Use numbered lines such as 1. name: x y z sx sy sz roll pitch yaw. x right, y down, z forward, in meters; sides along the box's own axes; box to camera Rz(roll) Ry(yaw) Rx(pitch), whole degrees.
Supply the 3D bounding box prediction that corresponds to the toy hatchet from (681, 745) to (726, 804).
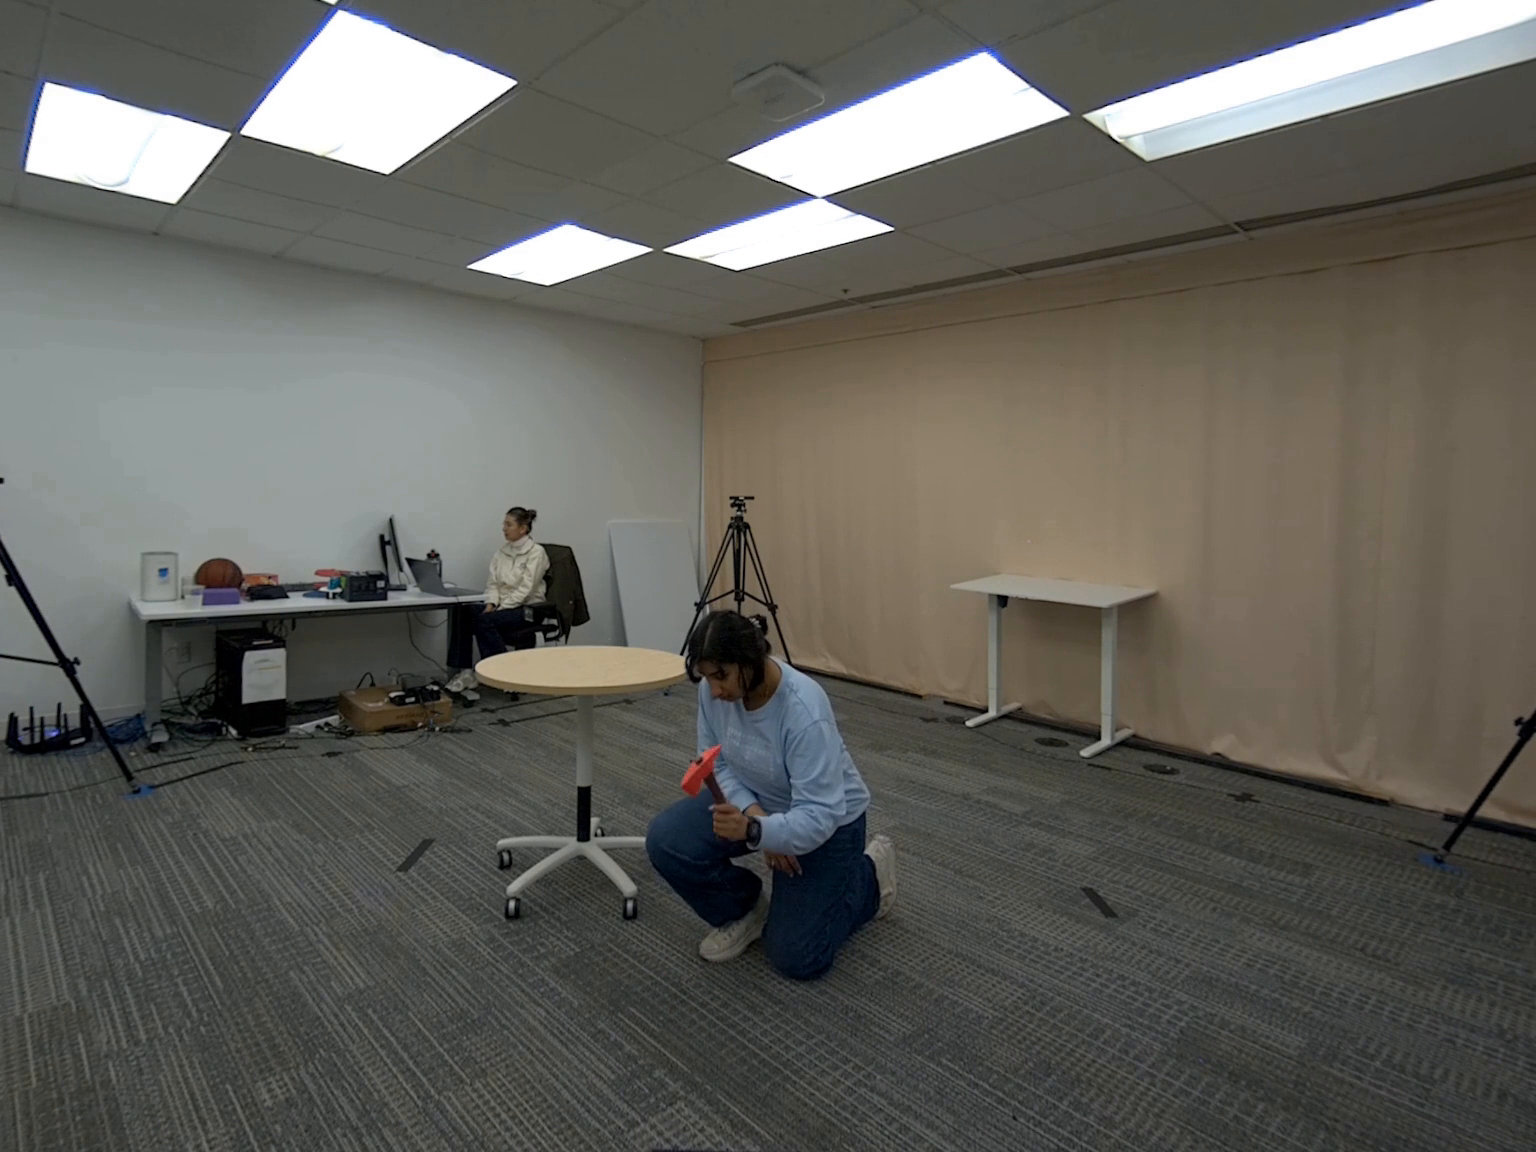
1. toy hatchet: -0.154 0.541 1.992 0.030 0.265 0.130 11 28 40
